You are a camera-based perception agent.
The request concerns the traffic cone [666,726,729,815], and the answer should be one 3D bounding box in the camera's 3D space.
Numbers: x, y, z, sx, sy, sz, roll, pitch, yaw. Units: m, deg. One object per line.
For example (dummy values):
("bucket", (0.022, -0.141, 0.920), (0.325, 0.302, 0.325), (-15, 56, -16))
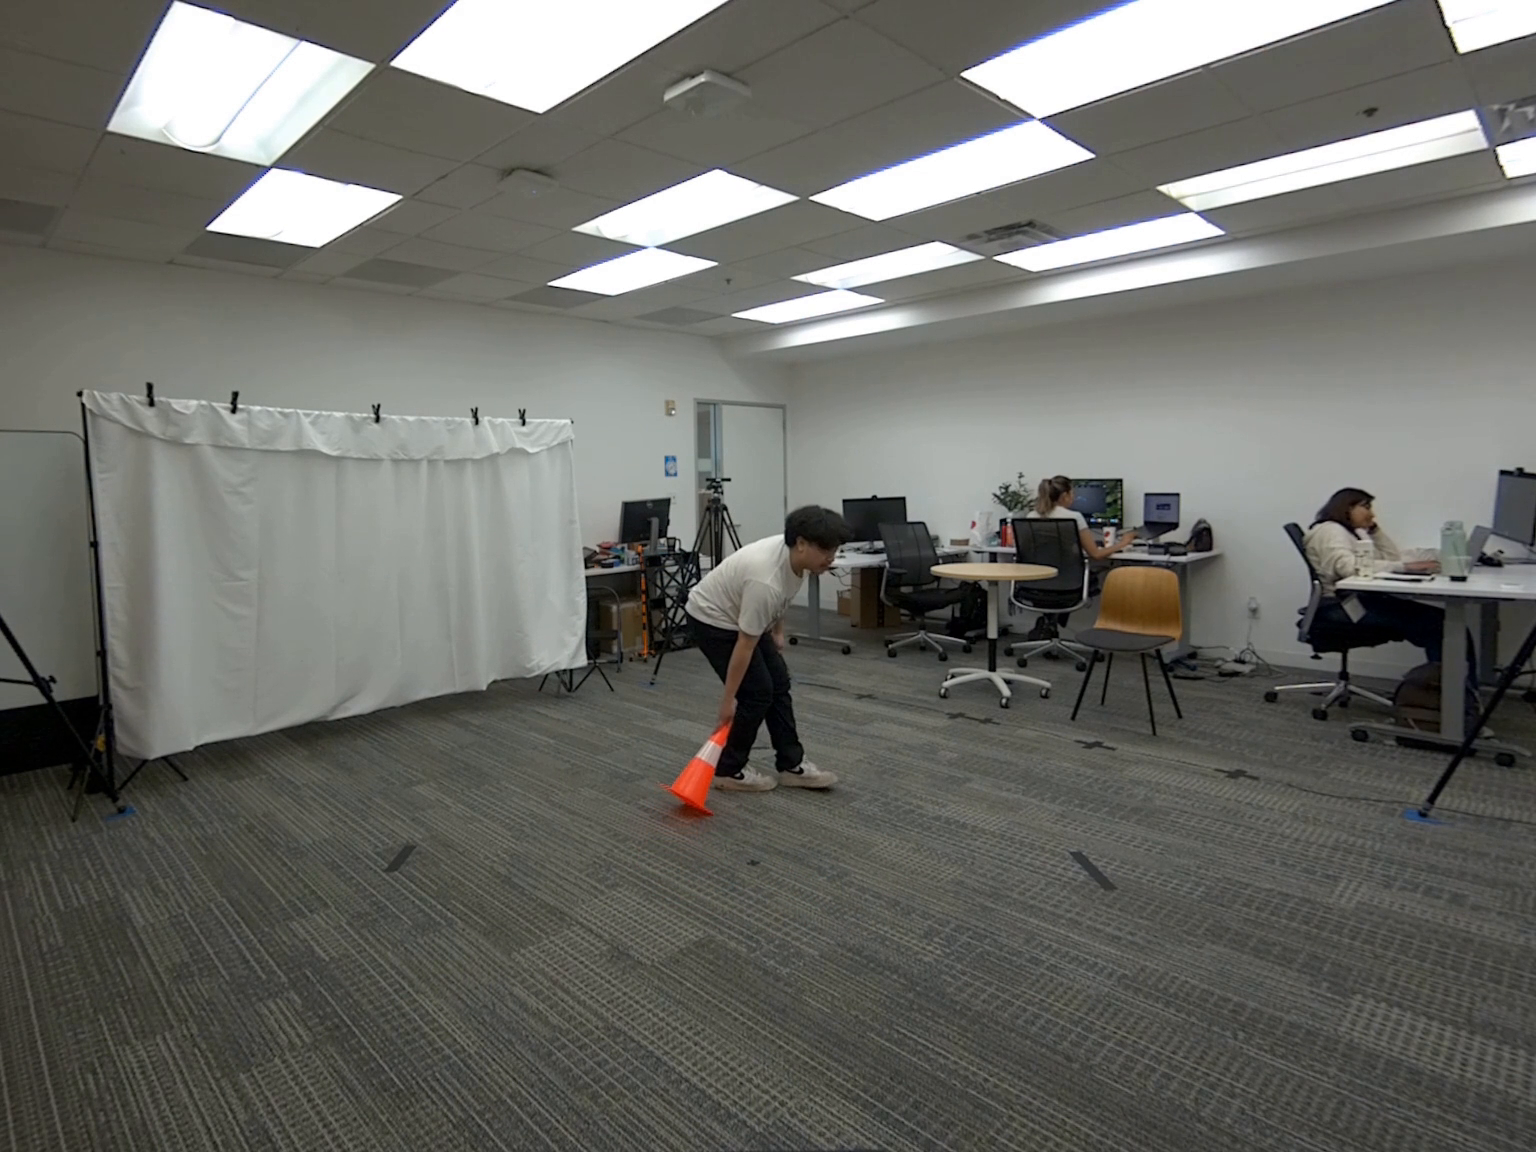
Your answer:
("traffic cone", (-0.254, 0.780, 3.643), (0.212, 0.386, 0.195), (12, -25, 41))
